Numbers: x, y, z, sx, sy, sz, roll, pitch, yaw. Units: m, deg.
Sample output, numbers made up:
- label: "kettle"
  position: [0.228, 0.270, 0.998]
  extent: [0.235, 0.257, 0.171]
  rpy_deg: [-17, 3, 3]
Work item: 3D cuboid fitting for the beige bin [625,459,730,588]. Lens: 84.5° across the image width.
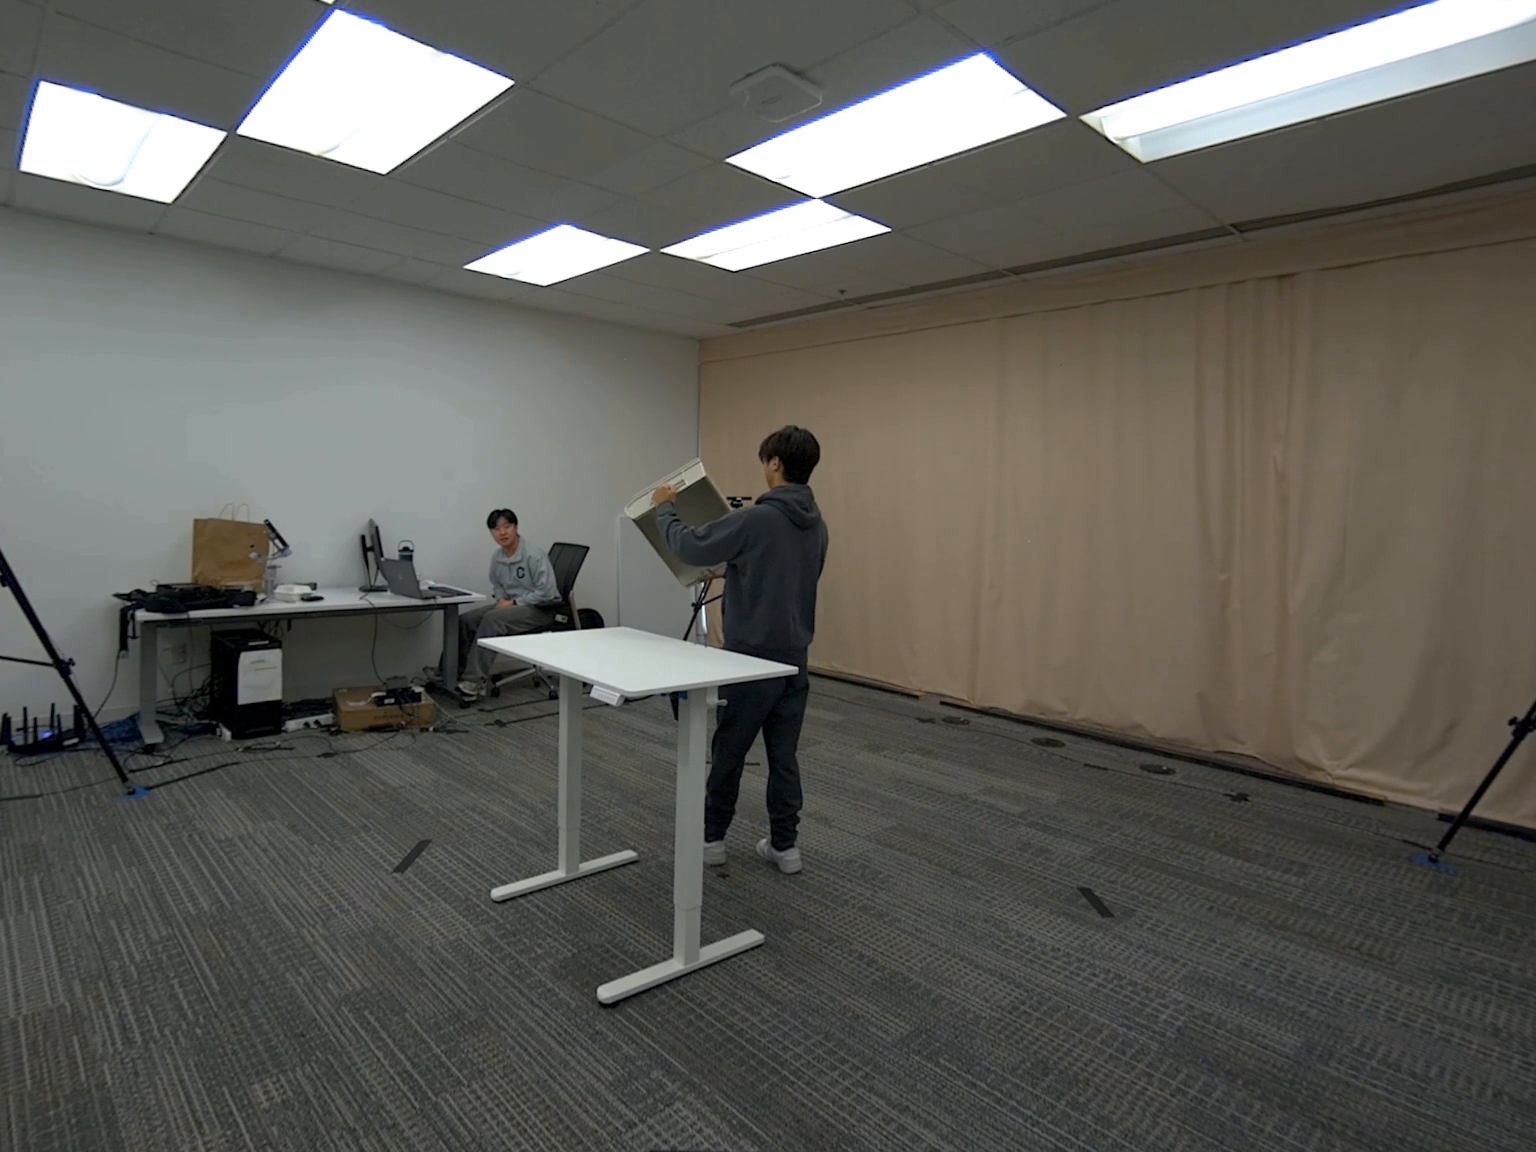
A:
- label: "beige bin"
  position: [-0.331, -0.204, 3.479]
  extent: [0.378, 0.410, 0.194]
  rpy_deg: [-29, 33, 8]
